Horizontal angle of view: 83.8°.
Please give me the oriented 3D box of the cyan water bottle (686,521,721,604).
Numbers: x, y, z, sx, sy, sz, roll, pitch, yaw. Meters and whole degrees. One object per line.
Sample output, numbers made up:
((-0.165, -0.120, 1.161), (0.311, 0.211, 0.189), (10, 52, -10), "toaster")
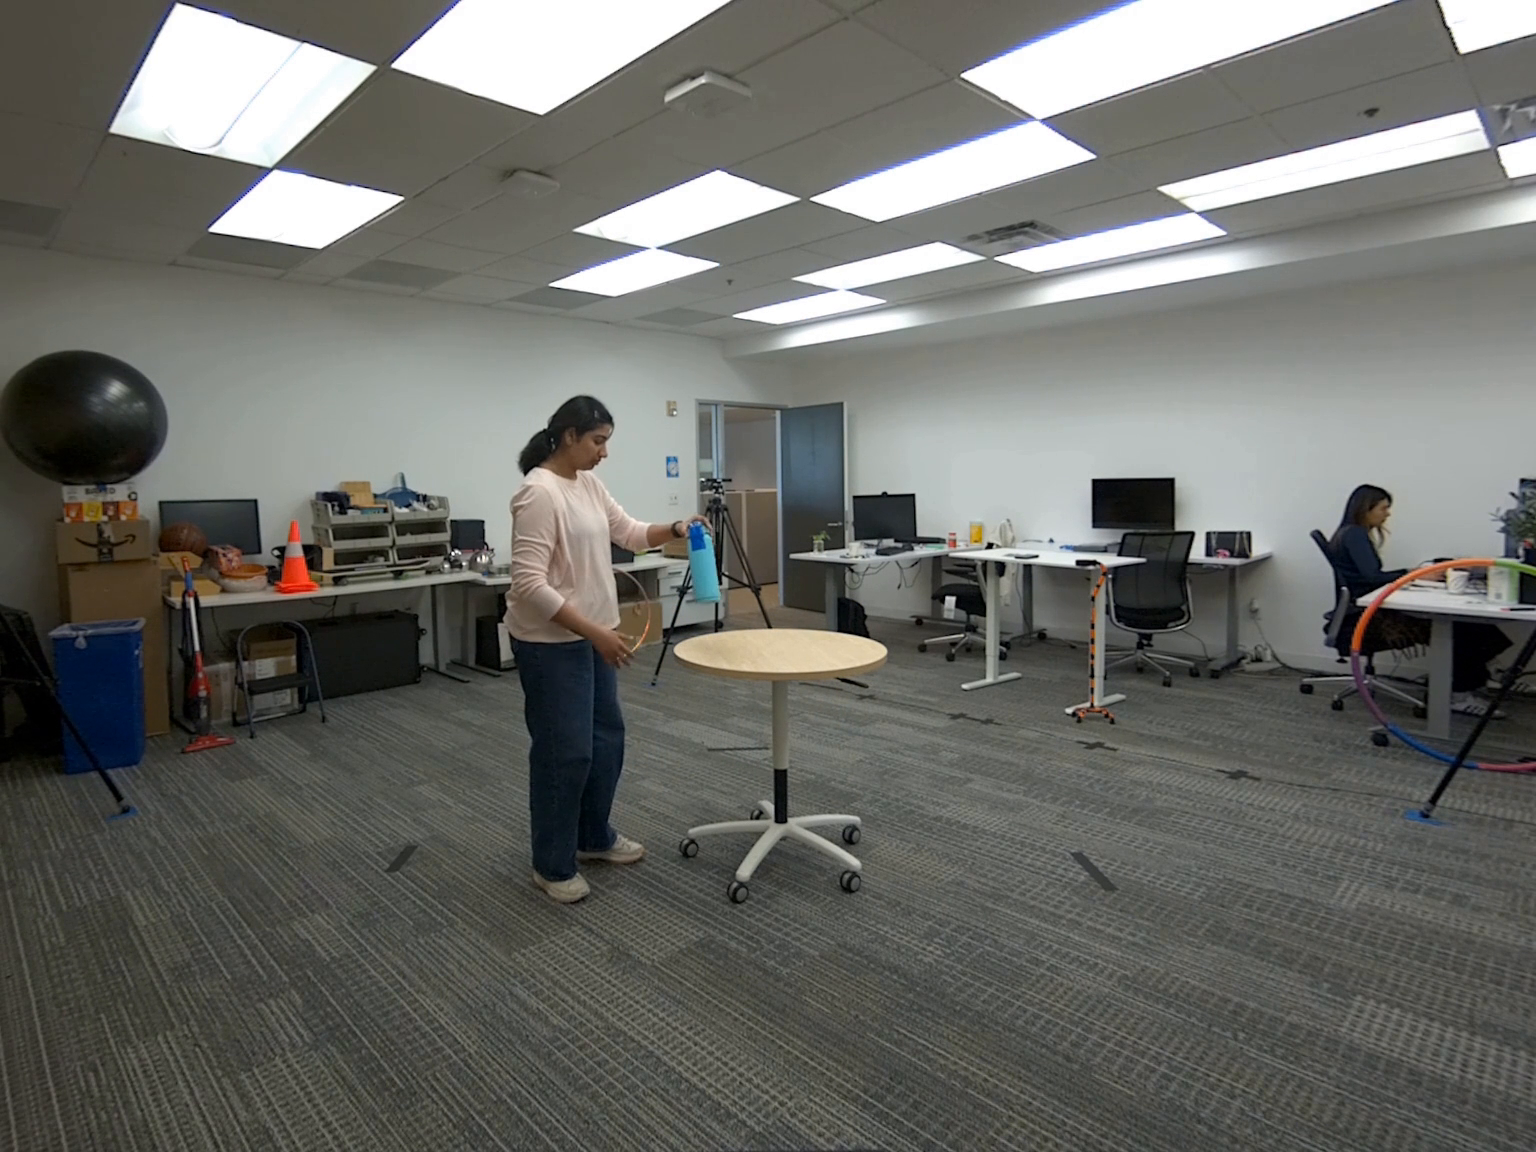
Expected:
((-0.228, -0.046, 2.899), (0.092, 0.286, 0.091), (-7, -10, -3), "cyan water bottle")
